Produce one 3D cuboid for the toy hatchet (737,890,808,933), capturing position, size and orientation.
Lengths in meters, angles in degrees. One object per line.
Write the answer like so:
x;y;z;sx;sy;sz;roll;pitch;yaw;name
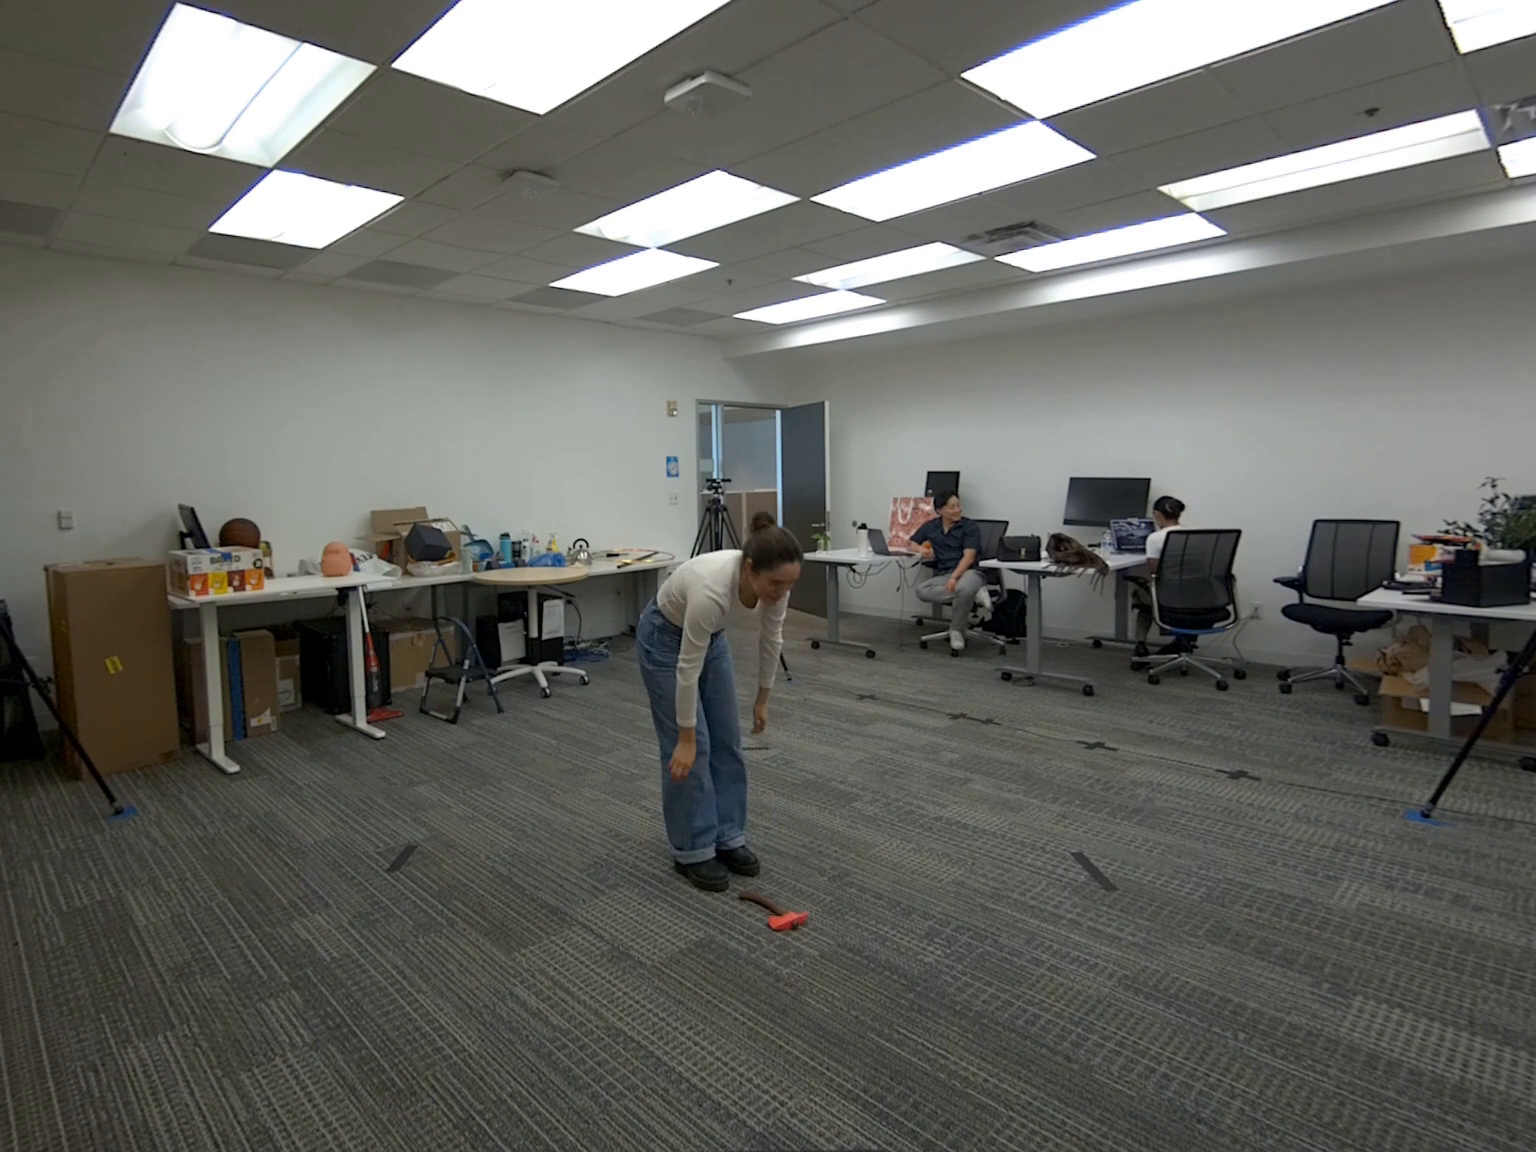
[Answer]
-0.004;1.076;2.736;0.278;0.029;0.128;1;9;41;toy hatchet
